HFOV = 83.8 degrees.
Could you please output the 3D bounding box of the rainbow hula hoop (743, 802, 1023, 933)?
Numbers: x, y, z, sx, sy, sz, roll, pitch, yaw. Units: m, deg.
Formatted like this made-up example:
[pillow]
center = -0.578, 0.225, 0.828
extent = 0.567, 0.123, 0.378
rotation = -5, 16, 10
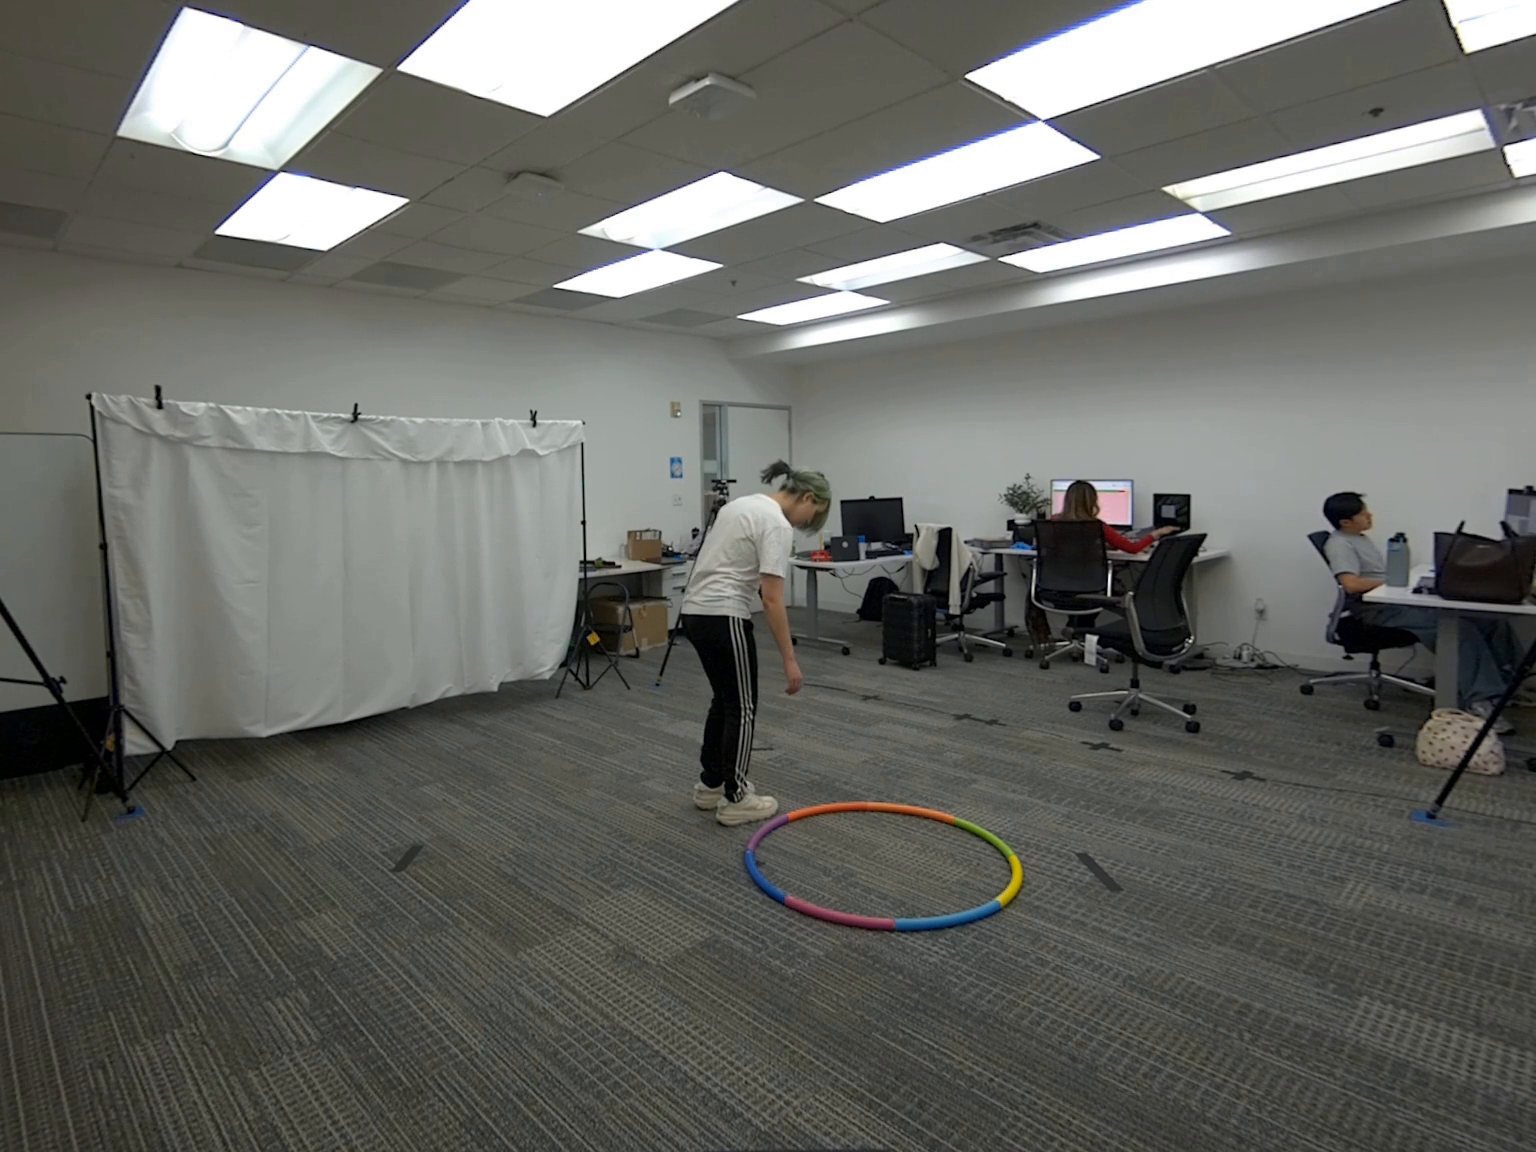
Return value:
[rainbow hula hoop]
center = 0.399, 1.009, 3.109
extent = 0.978, 0.035, 0.984
rotation = -2, 6, -2
